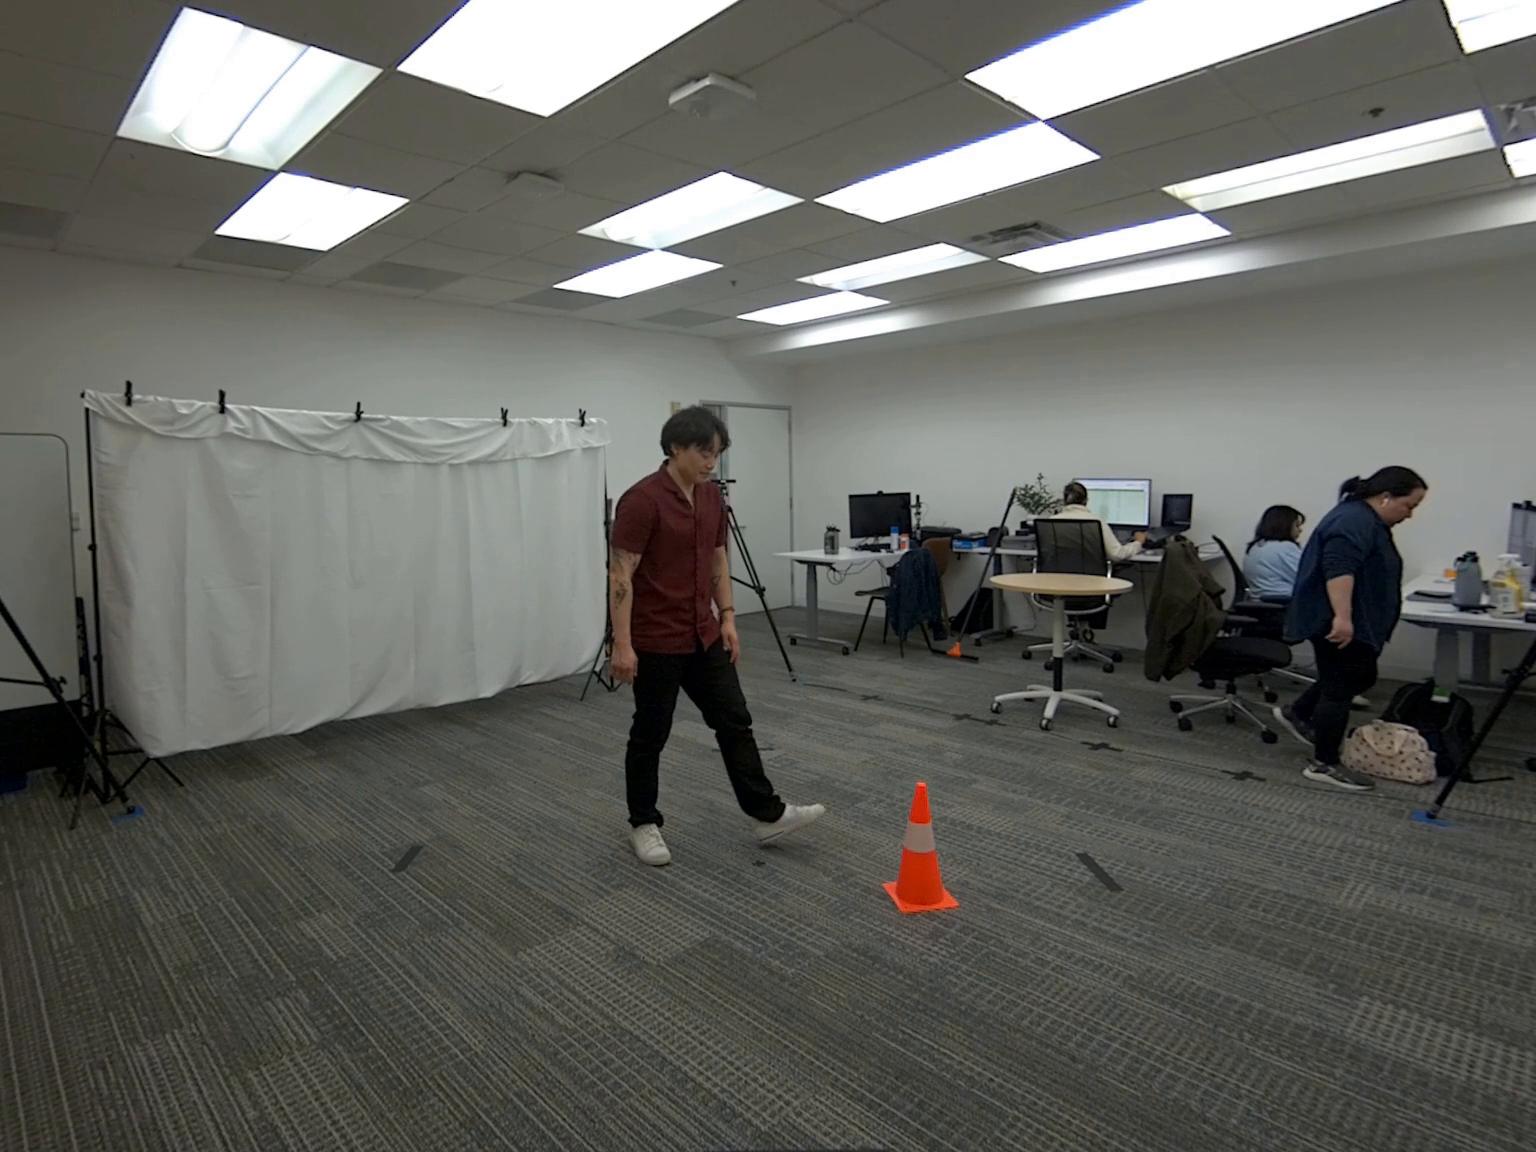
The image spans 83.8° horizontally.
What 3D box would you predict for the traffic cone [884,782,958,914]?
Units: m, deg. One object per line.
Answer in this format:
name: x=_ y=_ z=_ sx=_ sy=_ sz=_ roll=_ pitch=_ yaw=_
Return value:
traffic cone: x=0.516 y=0.880 z=2.843 sx=0.203 sy=0.382 sz=0.206 roll=0 pitch=4 yaw=-9
